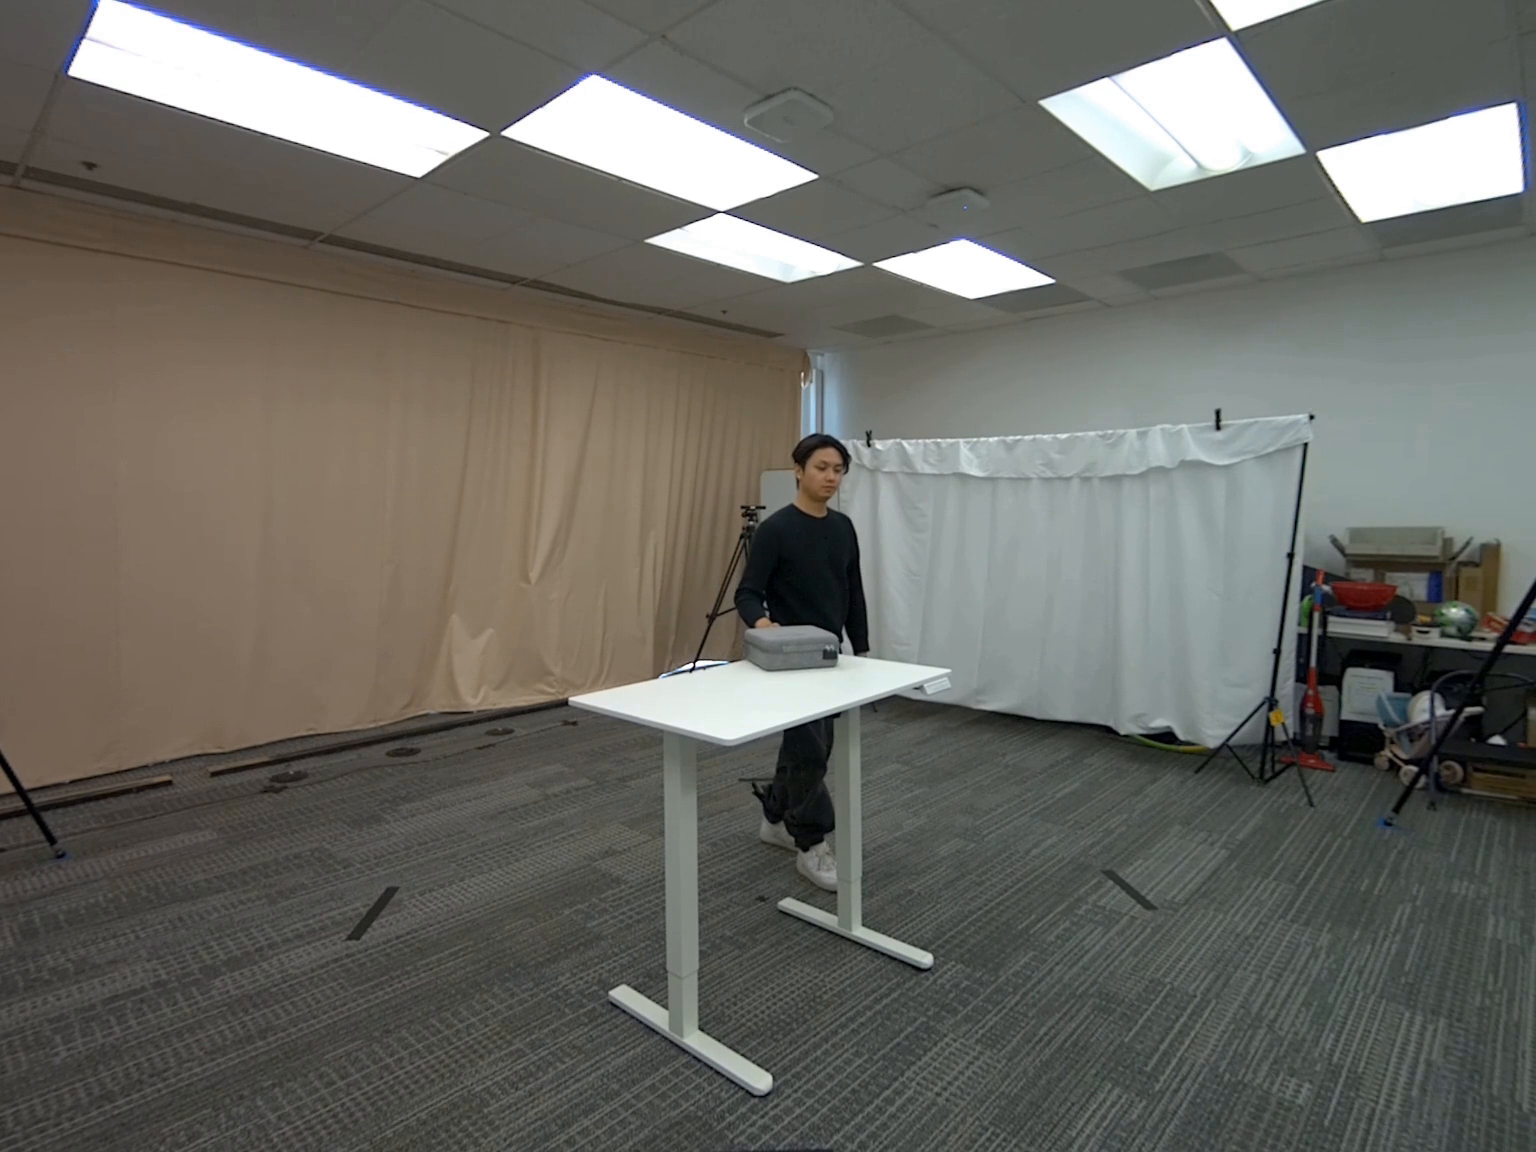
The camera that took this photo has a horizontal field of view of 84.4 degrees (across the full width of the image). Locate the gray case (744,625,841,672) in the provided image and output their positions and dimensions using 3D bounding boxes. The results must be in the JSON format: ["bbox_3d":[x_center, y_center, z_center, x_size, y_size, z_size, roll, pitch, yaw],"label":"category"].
[{"bbox_3d":[0.068,0.228,2.715,0.254,0.104,0.265,-3,5,-13],"label":"gray case"}]
